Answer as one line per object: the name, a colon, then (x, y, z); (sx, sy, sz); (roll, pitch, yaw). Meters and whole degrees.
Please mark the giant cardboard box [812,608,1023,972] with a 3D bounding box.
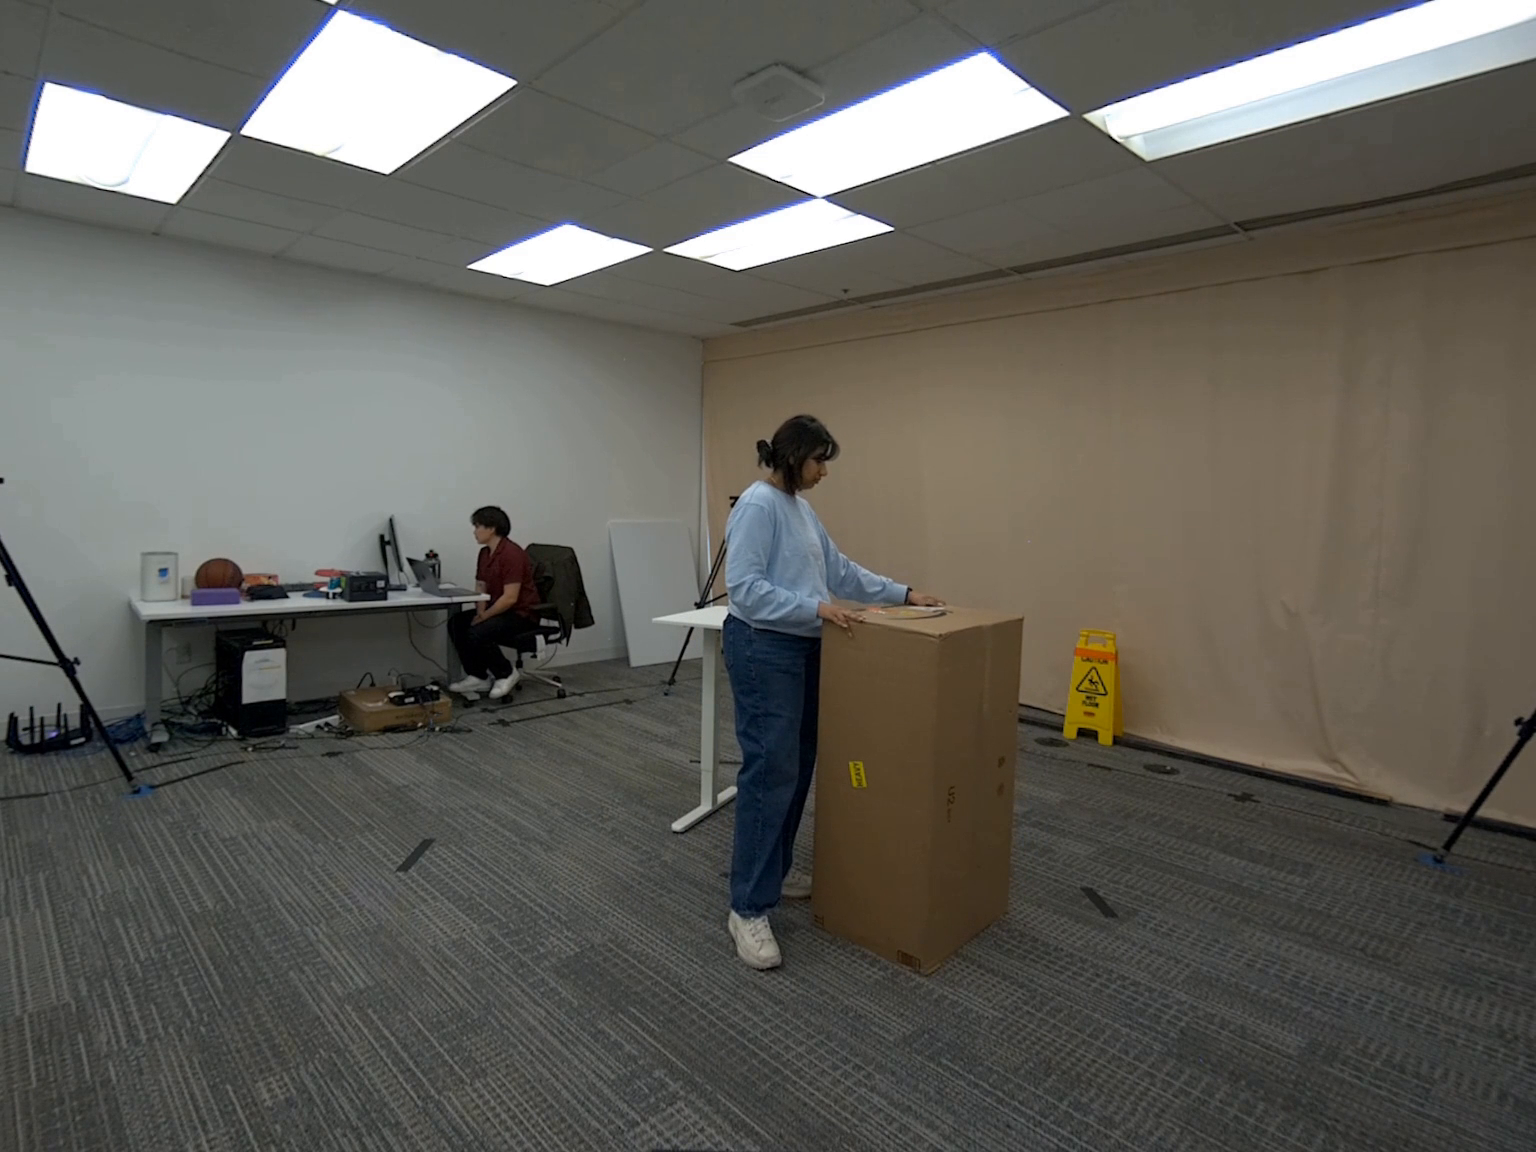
giant cardboard box: (0.502, 0.644, 2.786); (0.437, 1.022, 0.564); (6, 6, 40)
